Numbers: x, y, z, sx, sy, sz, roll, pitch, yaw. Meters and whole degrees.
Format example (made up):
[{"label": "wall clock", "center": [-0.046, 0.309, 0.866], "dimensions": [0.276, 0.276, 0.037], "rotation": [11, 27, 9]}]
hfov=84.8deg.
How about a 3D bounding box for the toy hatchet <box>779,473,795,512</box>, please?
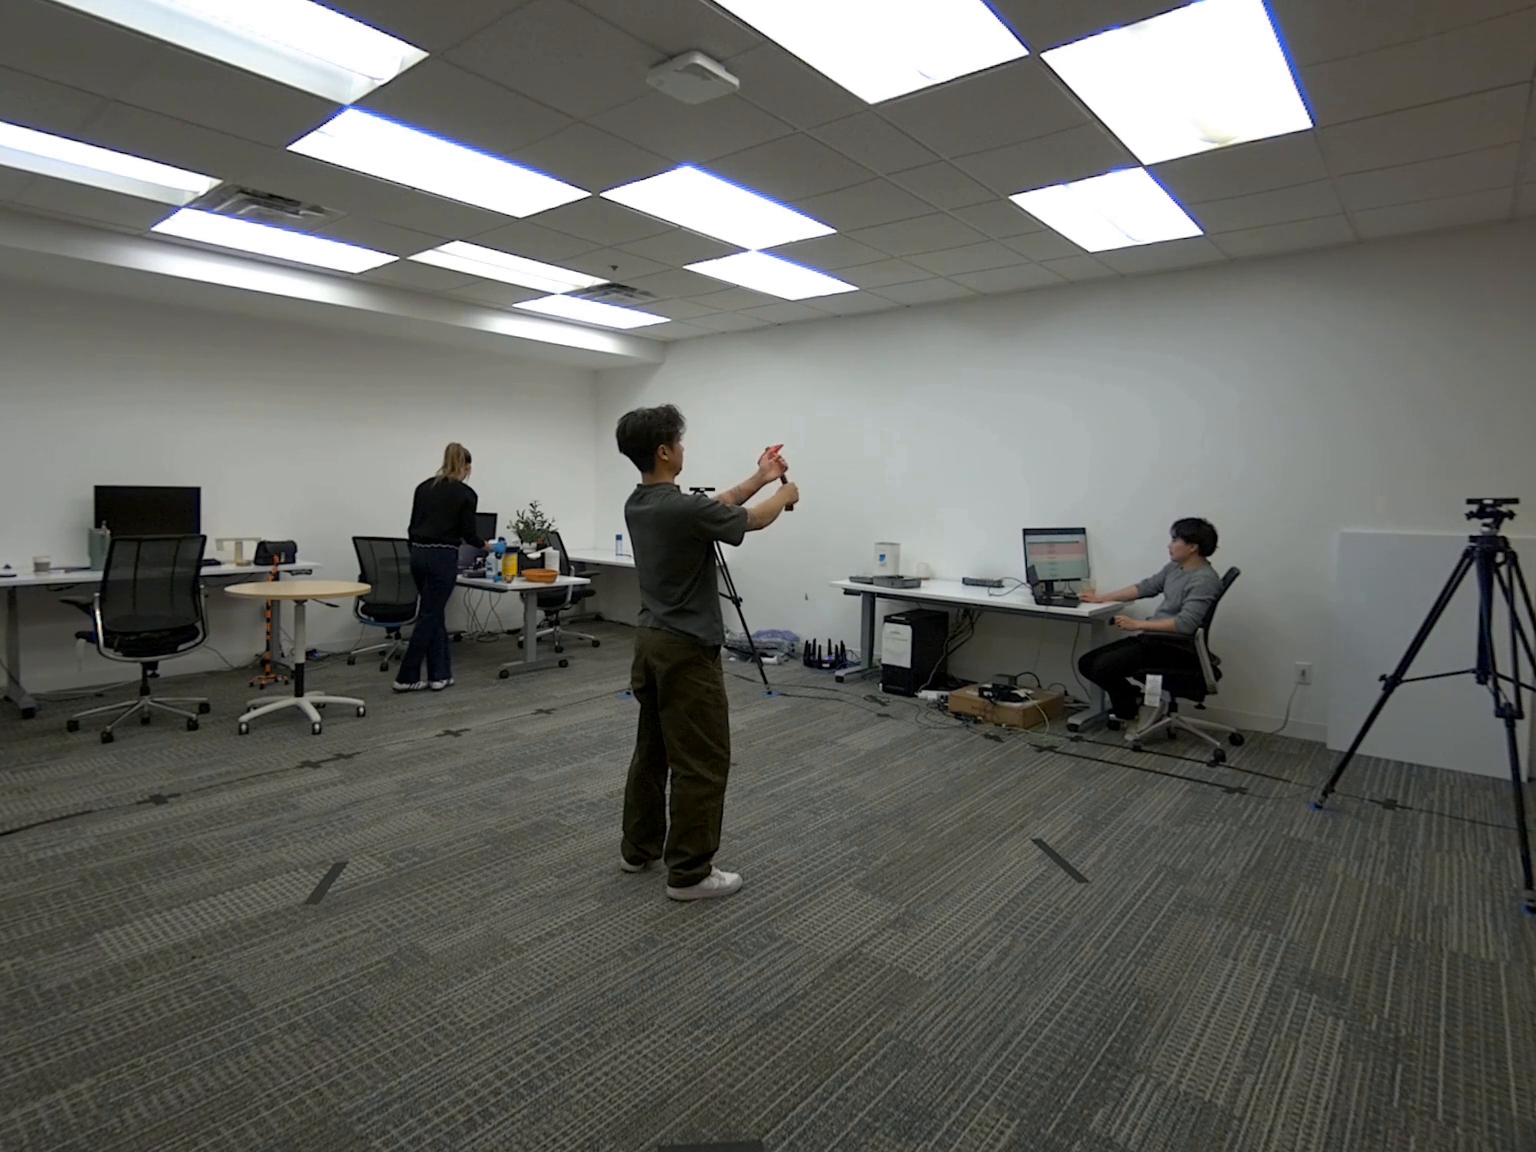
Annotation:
[{"label": "toy hatchet", "center": [0.013, -0.373, 3.294], "dimensions": [0.134, 0.273, 0.028], "rotation": [-15, -13, 32]}]
